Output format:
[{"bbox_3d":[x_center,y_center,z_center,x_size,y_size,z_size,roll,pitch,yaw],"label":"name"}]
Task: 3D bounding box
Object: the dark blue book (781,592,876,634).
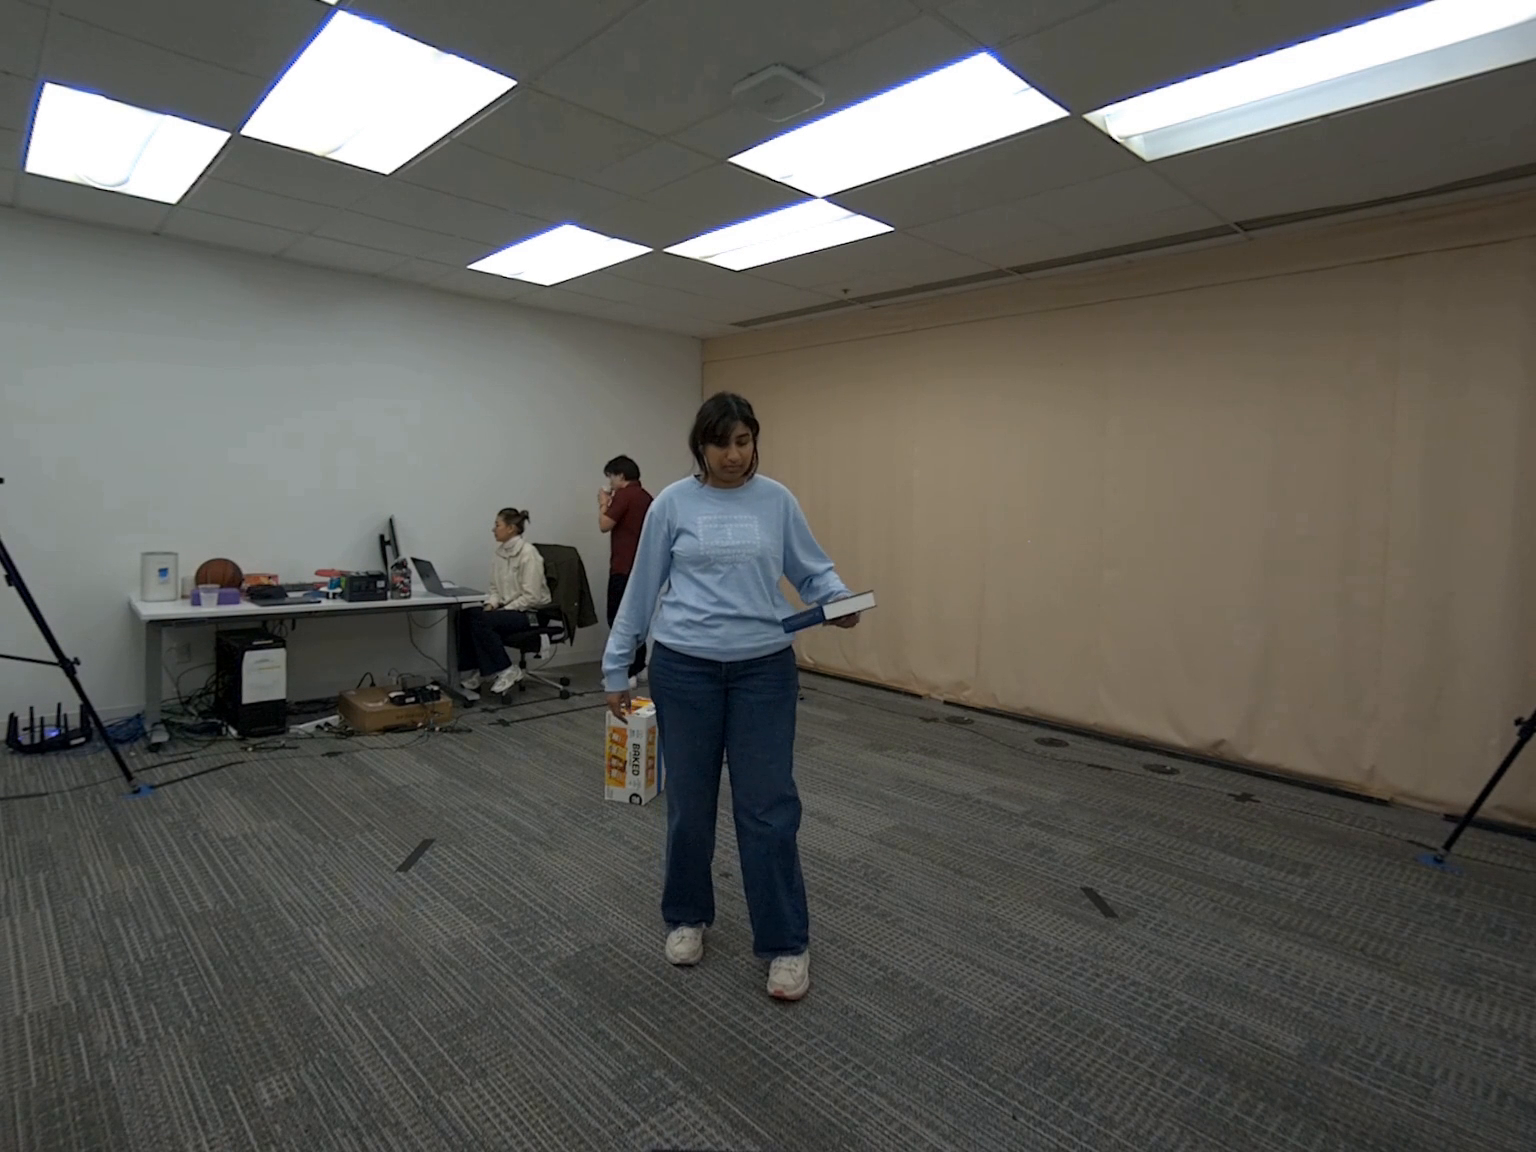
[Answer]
[{"bbox_3d":[0.133,0.099,2.243,0.161,0.045,0.247,-14,-5,-26],"label":"dark blue book"}]
